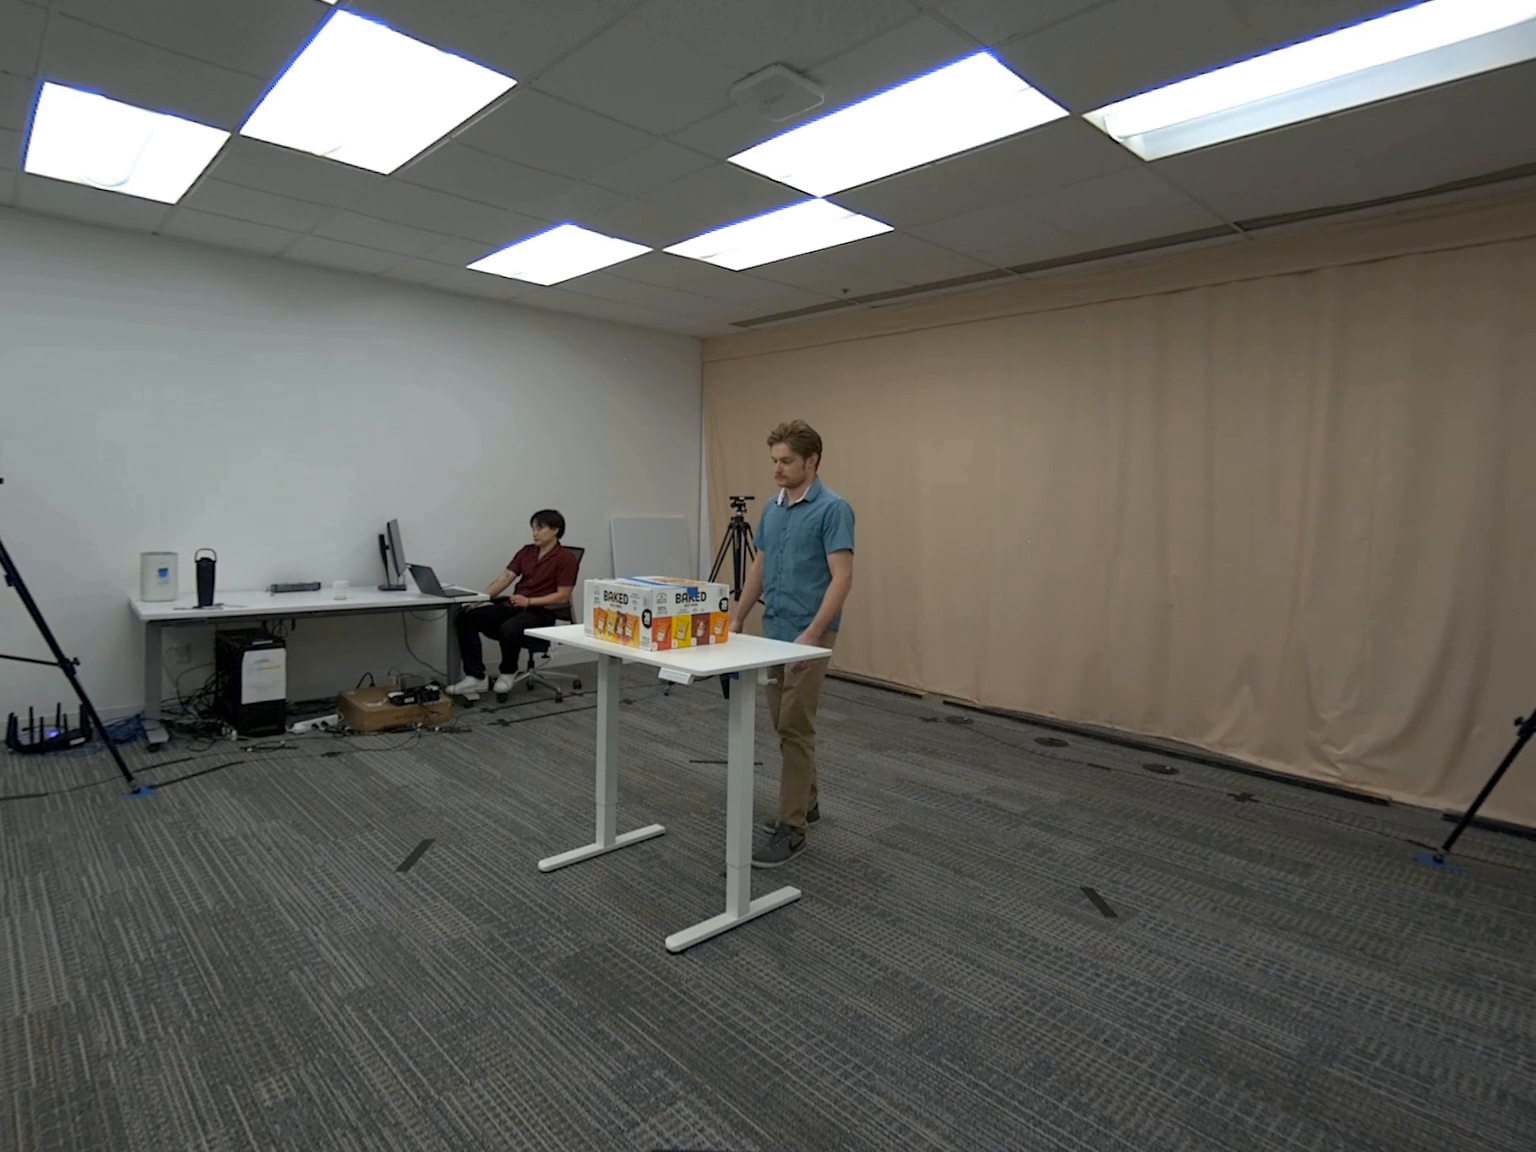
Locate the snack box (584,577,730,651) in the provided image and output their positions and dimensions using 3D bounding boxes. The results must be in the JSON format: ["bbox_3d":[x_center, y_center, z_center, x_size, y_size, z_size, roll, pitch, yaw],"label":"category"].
[{"bbox_3d":[-0.406,0.124,2.992,0.332,0.205,0.415,-2,5,-43],"label":"snack box"}]
